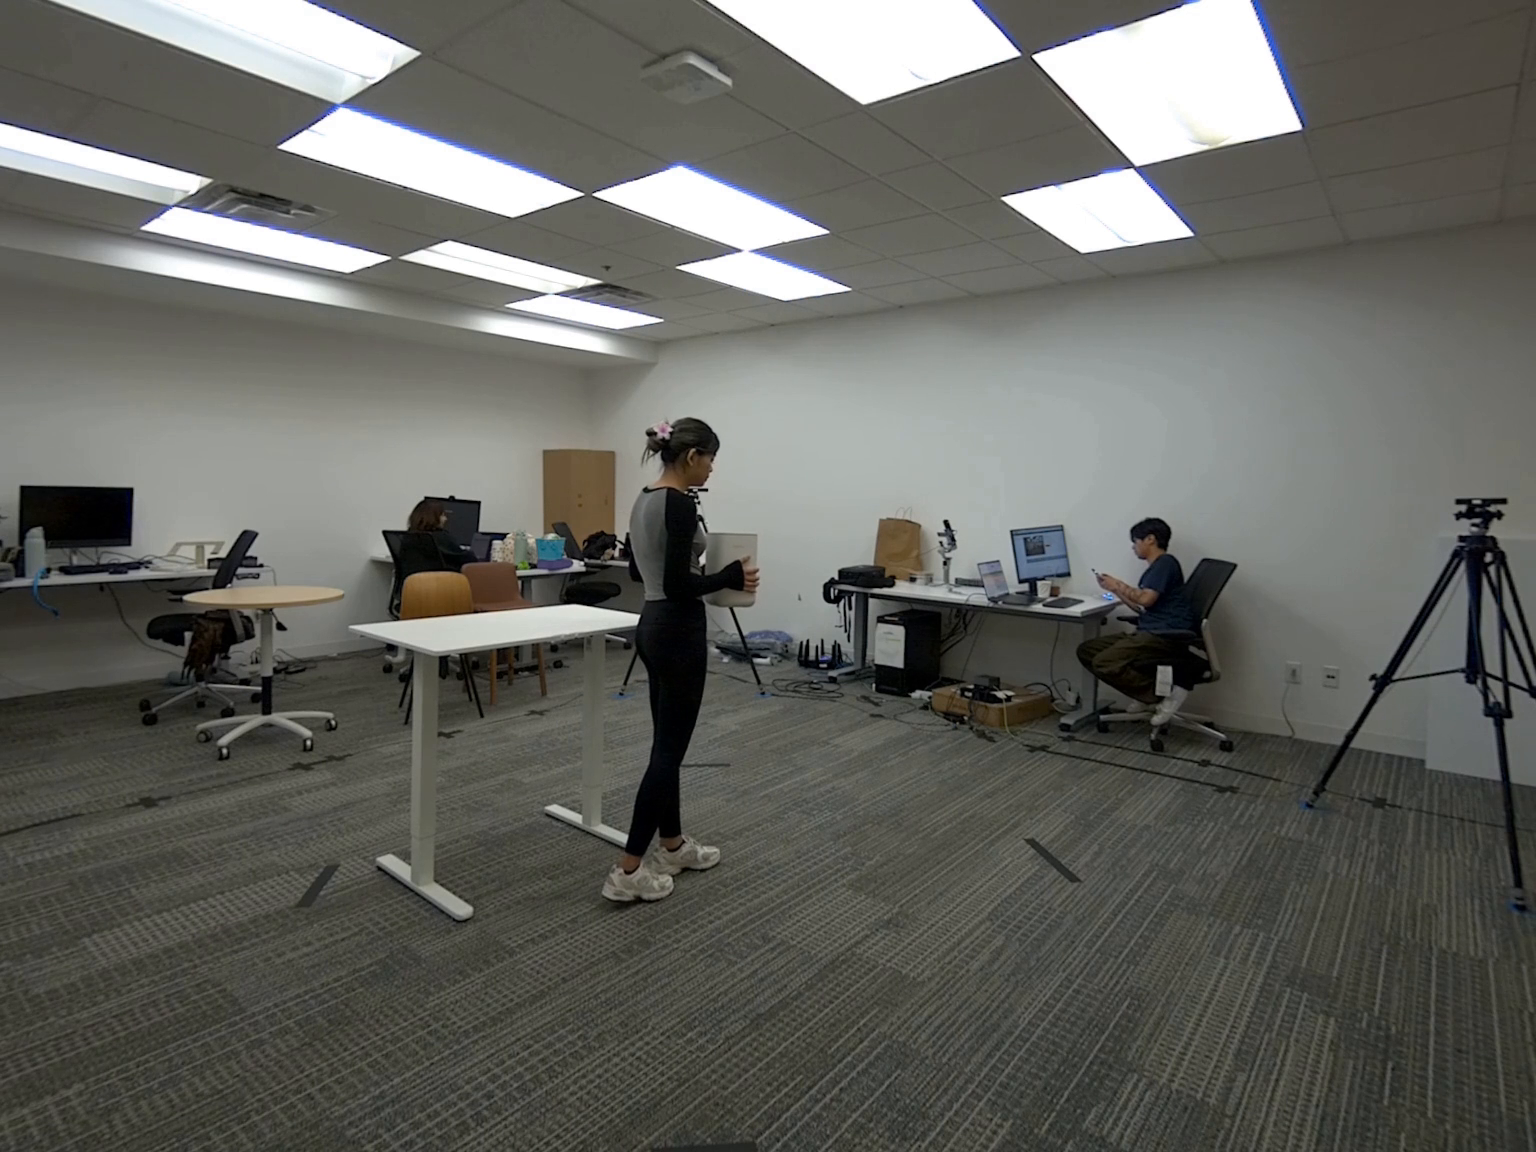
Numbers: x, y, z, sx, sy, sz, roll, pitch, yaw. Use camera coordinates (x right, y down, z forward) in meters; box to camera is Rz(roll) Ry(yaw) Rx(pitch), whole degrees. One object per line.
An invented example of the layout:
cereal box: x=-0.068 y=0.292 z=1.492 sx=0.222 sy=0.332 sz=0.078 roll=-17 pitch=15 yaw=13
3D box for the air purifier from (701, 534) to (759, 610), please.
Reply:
air purifier: x=-0.147 y=-0.021 z=3.074 sx=0.168 sy=0.265 sz=0.175 roll=0 pitch=0 yaw=-20
